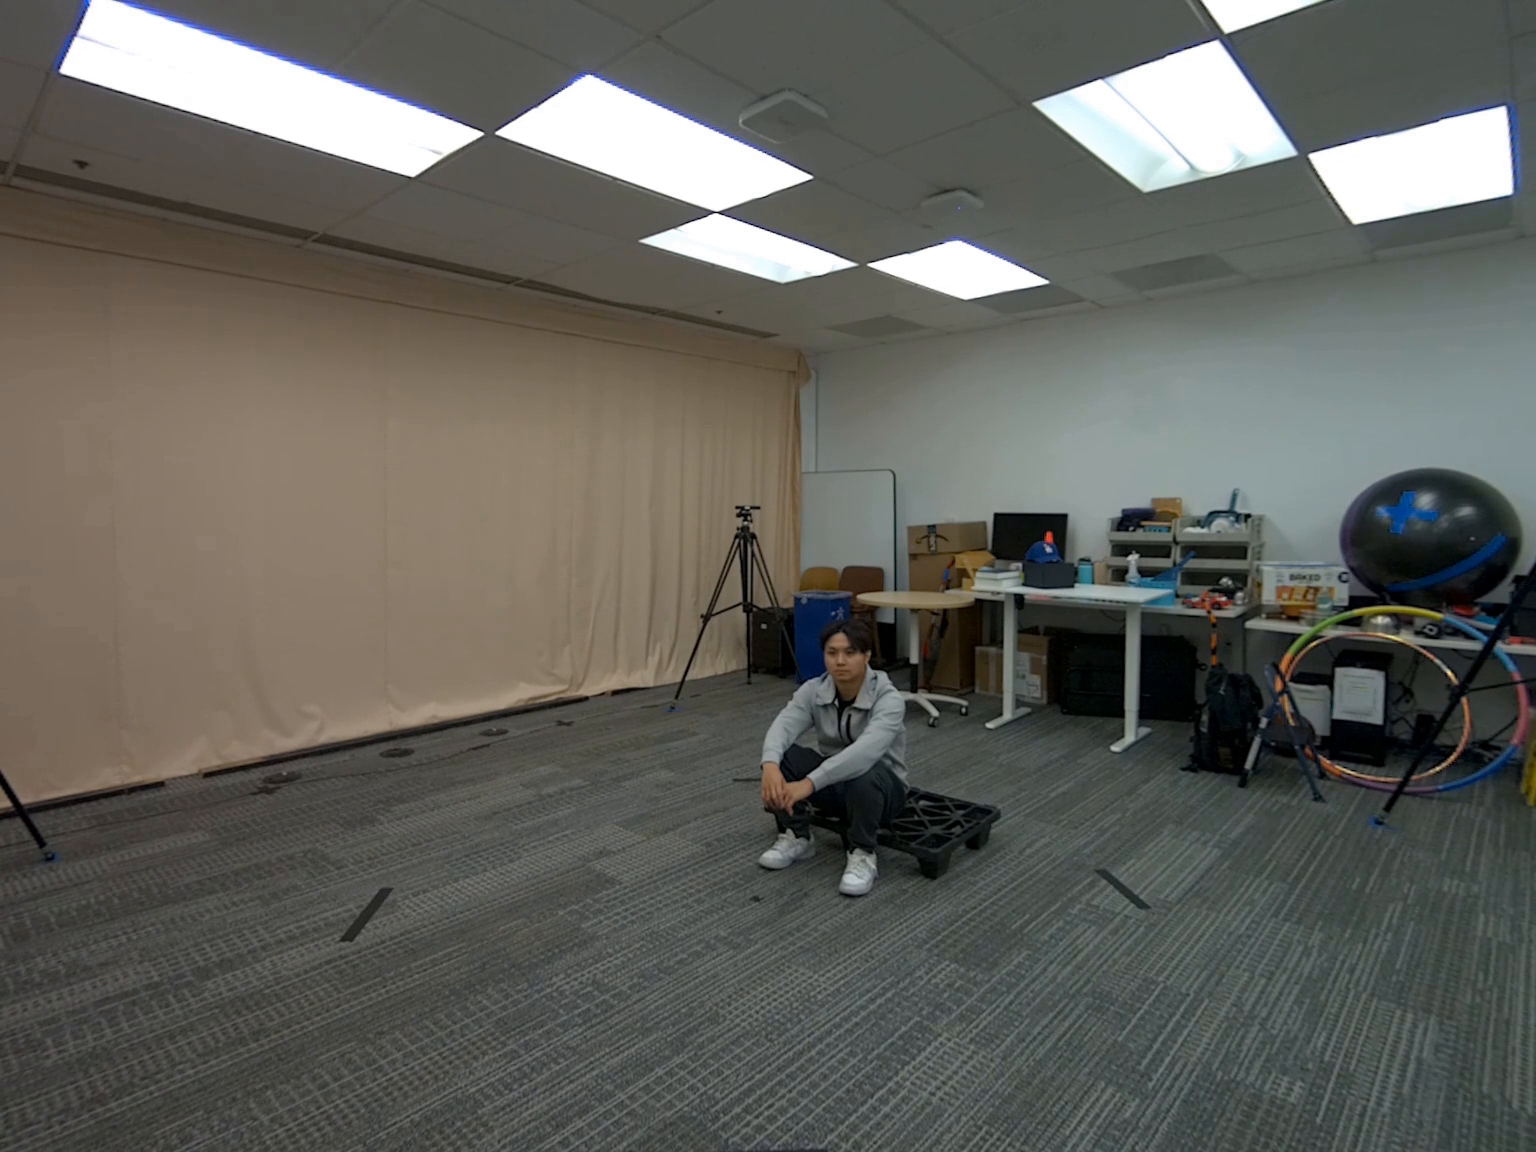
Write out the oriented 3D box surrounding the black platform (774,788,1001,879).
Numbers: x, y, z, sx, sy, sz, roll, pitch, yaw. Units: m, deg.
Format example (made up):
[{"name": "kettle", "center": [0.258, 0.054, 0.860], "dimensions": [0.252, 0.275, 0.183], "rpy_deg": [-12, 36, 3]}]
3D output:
[{"name": "black platform", "center": [0.477, 1.031, 3.534], "dimensions": [0.832, 0.143, 0.587], "rpy_deg": [4, 6, 39]}]
